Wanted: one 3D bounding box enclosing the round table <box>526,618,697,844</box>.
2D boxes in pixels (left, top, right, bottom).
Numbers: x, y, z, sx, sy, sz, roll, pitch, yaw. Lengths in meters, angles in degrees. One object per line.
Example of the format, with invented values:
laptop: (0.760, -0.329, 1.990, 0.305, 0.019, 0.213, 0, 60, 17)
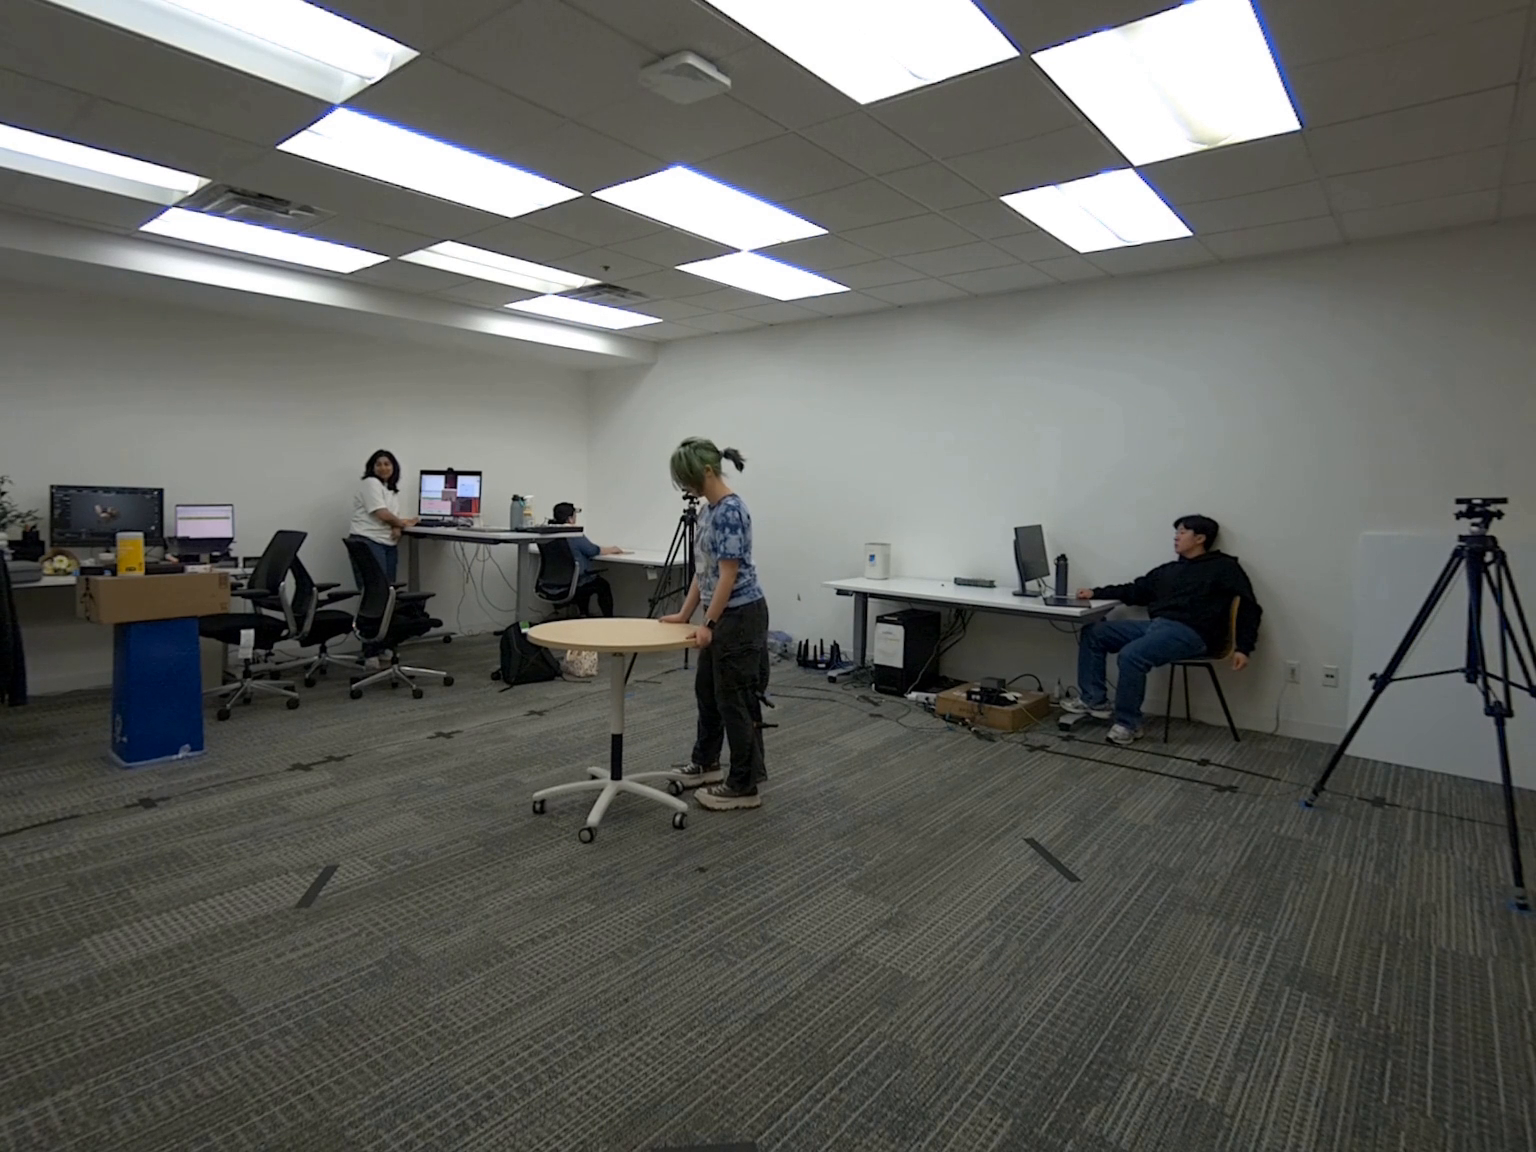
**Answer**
round table: (-0.661, 0.622, 3.641, 0.763, 0.791, 0.768, 1, 4, -2)
